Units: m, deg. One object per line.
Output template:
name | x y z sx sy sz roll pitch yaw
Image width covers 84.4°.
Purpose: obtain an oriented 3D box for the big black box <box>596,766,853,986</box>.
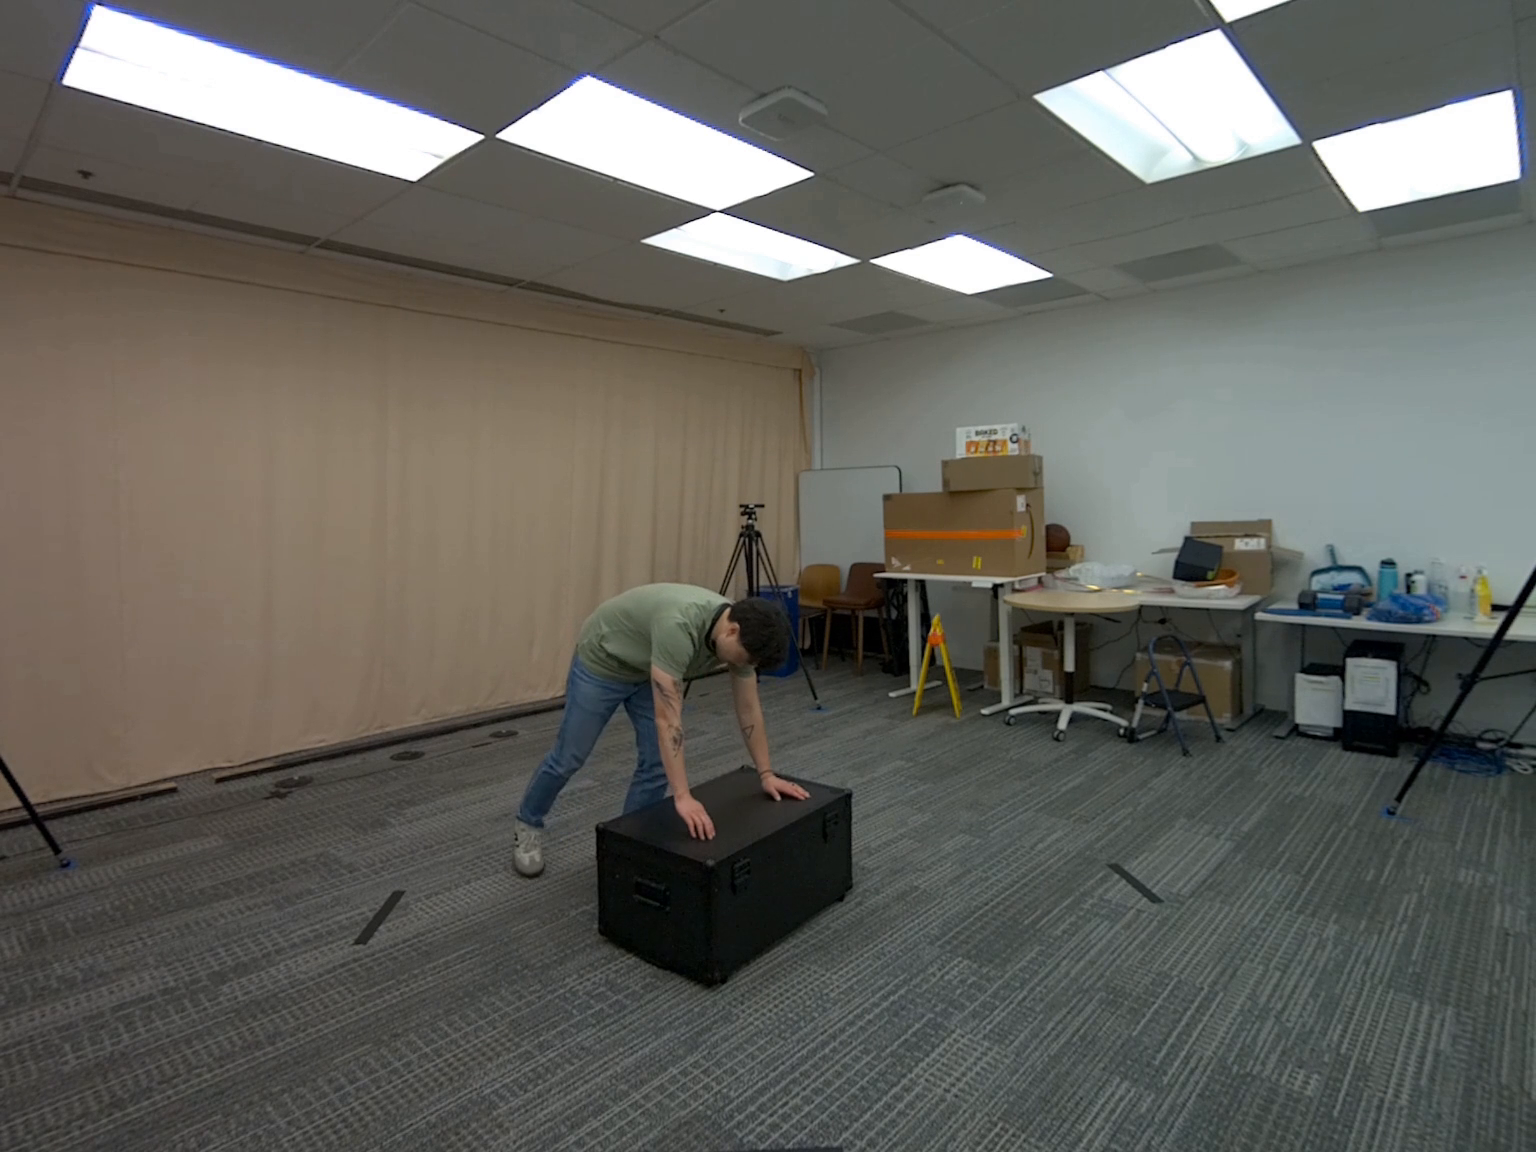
big black box | -0.094 0.966 2.859 0.538 0.395 0.837 2 7 38
